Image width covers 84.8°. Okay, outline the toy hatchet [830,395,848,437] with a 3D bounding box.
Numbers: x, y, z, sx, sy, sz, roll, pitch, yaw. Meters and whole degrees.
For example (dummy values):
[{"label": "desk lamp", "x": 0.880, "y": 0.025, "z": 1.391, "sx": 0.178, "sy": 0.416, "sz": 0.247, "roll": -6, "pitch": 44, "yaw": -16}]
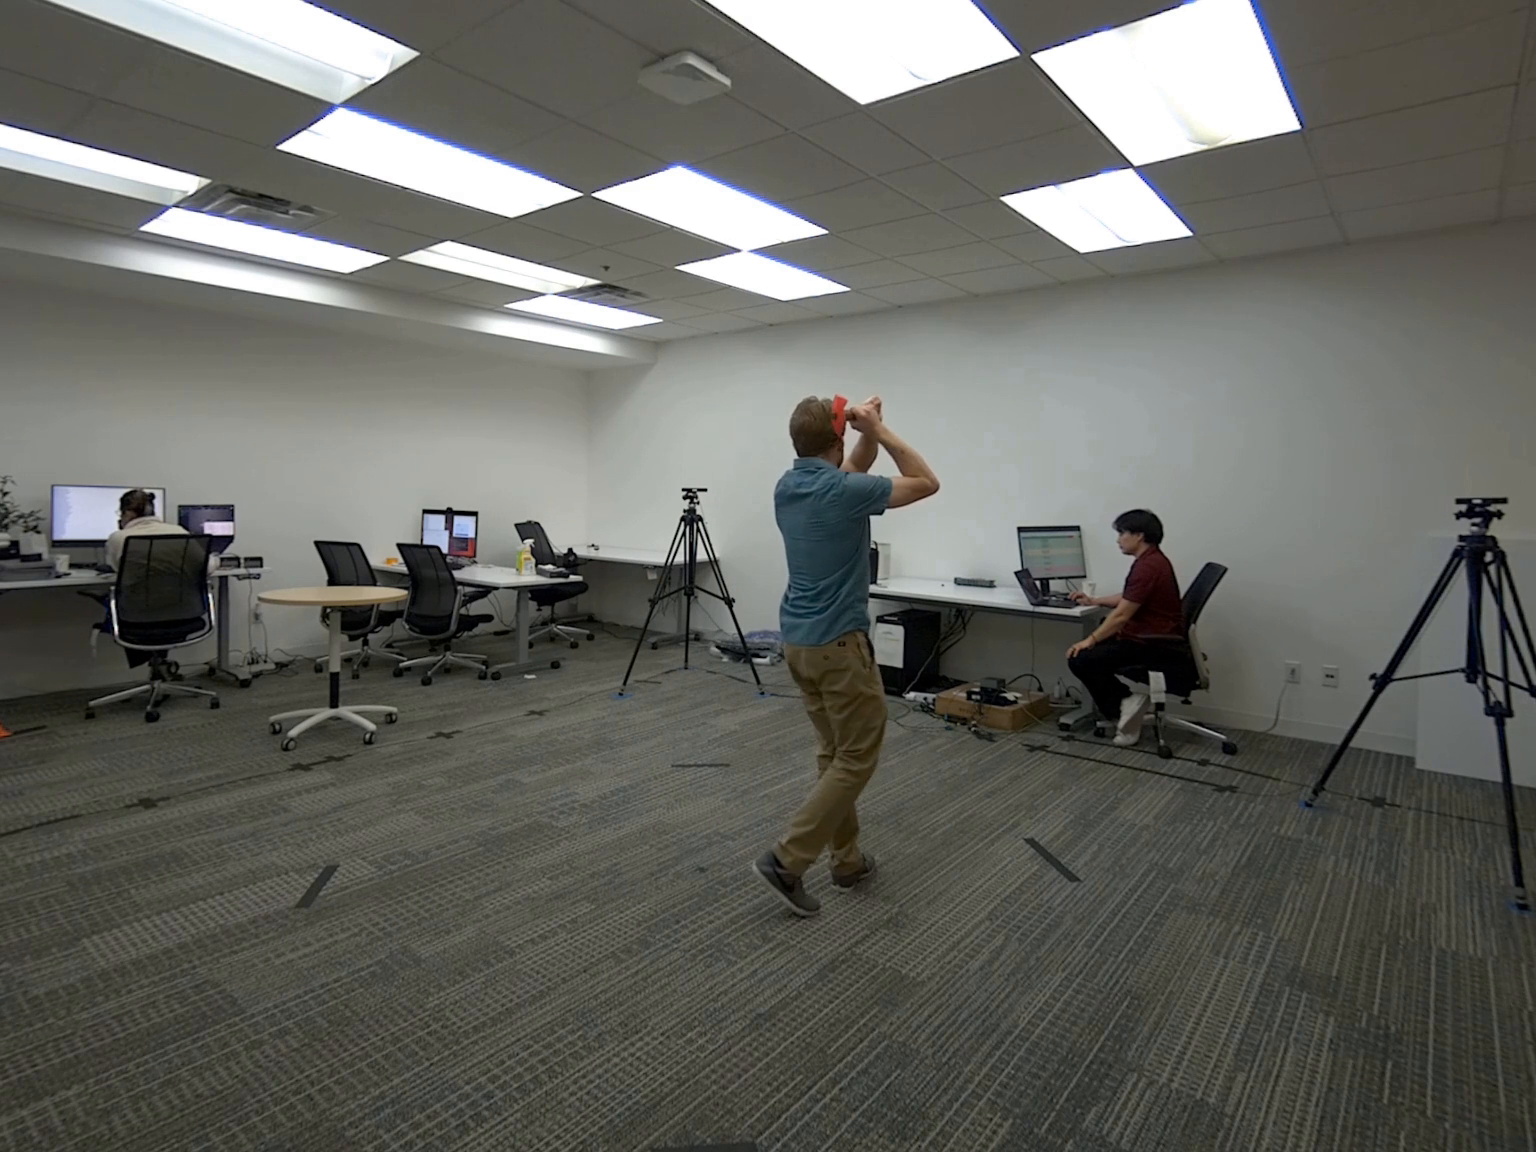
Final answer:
[{"label": "toy hatchet", "x": 0.273, "y": -0.568, "z": 2.787, "sx": 0.030, "sy": 0.128, "sz": 0.268, "roll": -2, "pitch": 26, "yaw": 43}]
